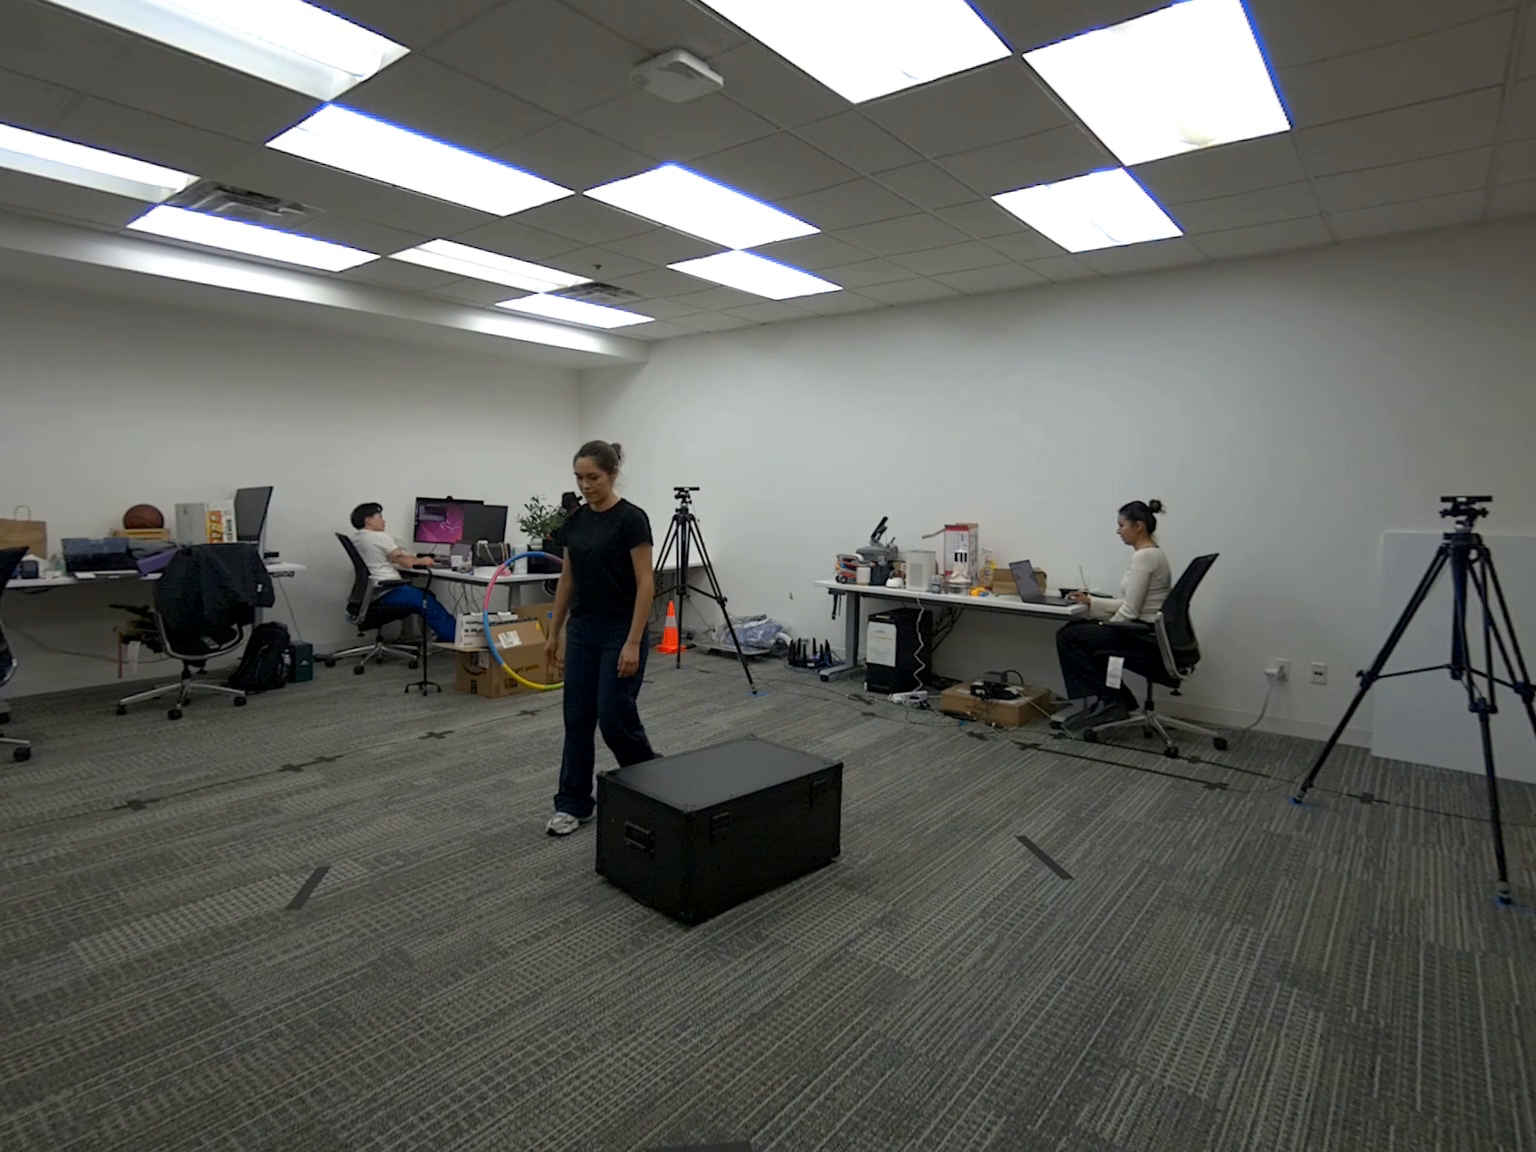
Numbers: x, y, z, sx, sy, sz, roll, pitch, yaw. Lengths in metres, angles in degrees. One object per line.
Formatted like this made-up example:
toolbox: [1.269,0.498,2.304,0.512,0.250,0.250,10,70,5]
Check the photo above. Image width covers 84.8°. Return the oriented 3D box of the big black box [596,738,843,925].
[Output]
big black box: [-0.168,0.880,3.082,0.835,0.395,0.539,-3,6,-45]
